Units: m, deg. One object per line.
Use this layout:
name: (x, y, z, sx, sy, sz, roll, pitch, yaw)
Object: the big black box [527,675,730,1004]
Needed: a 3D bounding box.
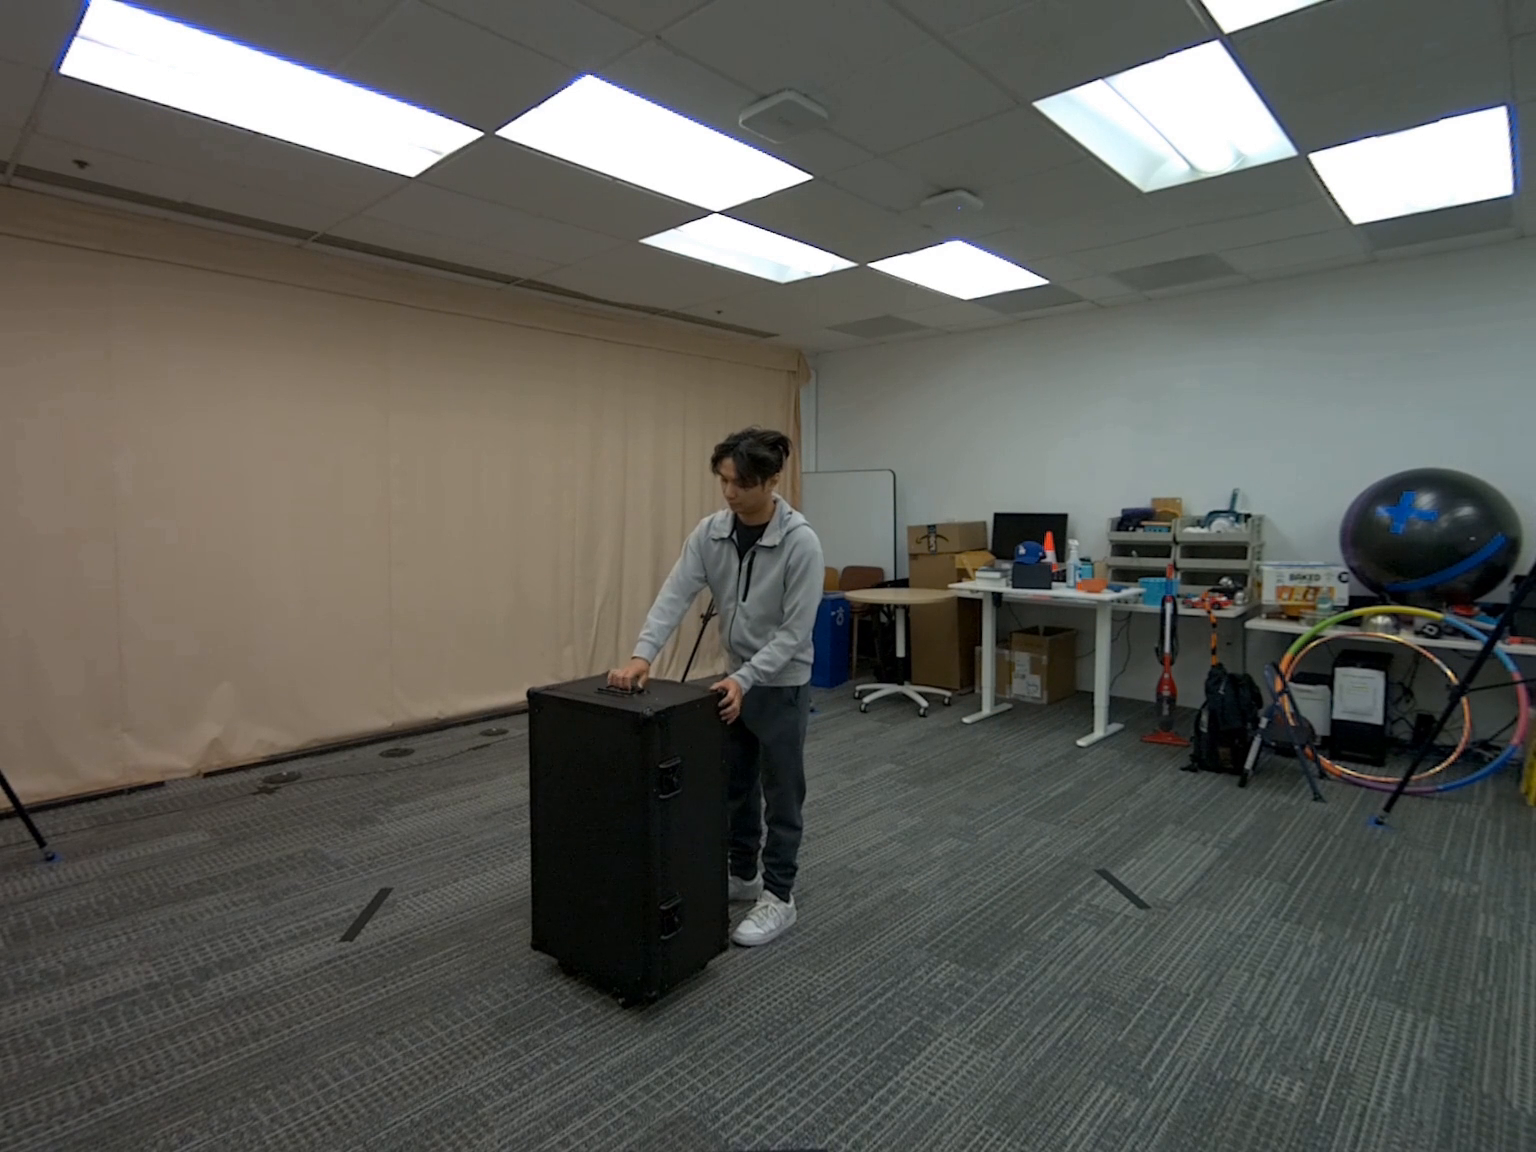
big black box: (-0.407, 0.705, 2.502, 0.538, 0.860, 0.385, 2, 4, 36)
